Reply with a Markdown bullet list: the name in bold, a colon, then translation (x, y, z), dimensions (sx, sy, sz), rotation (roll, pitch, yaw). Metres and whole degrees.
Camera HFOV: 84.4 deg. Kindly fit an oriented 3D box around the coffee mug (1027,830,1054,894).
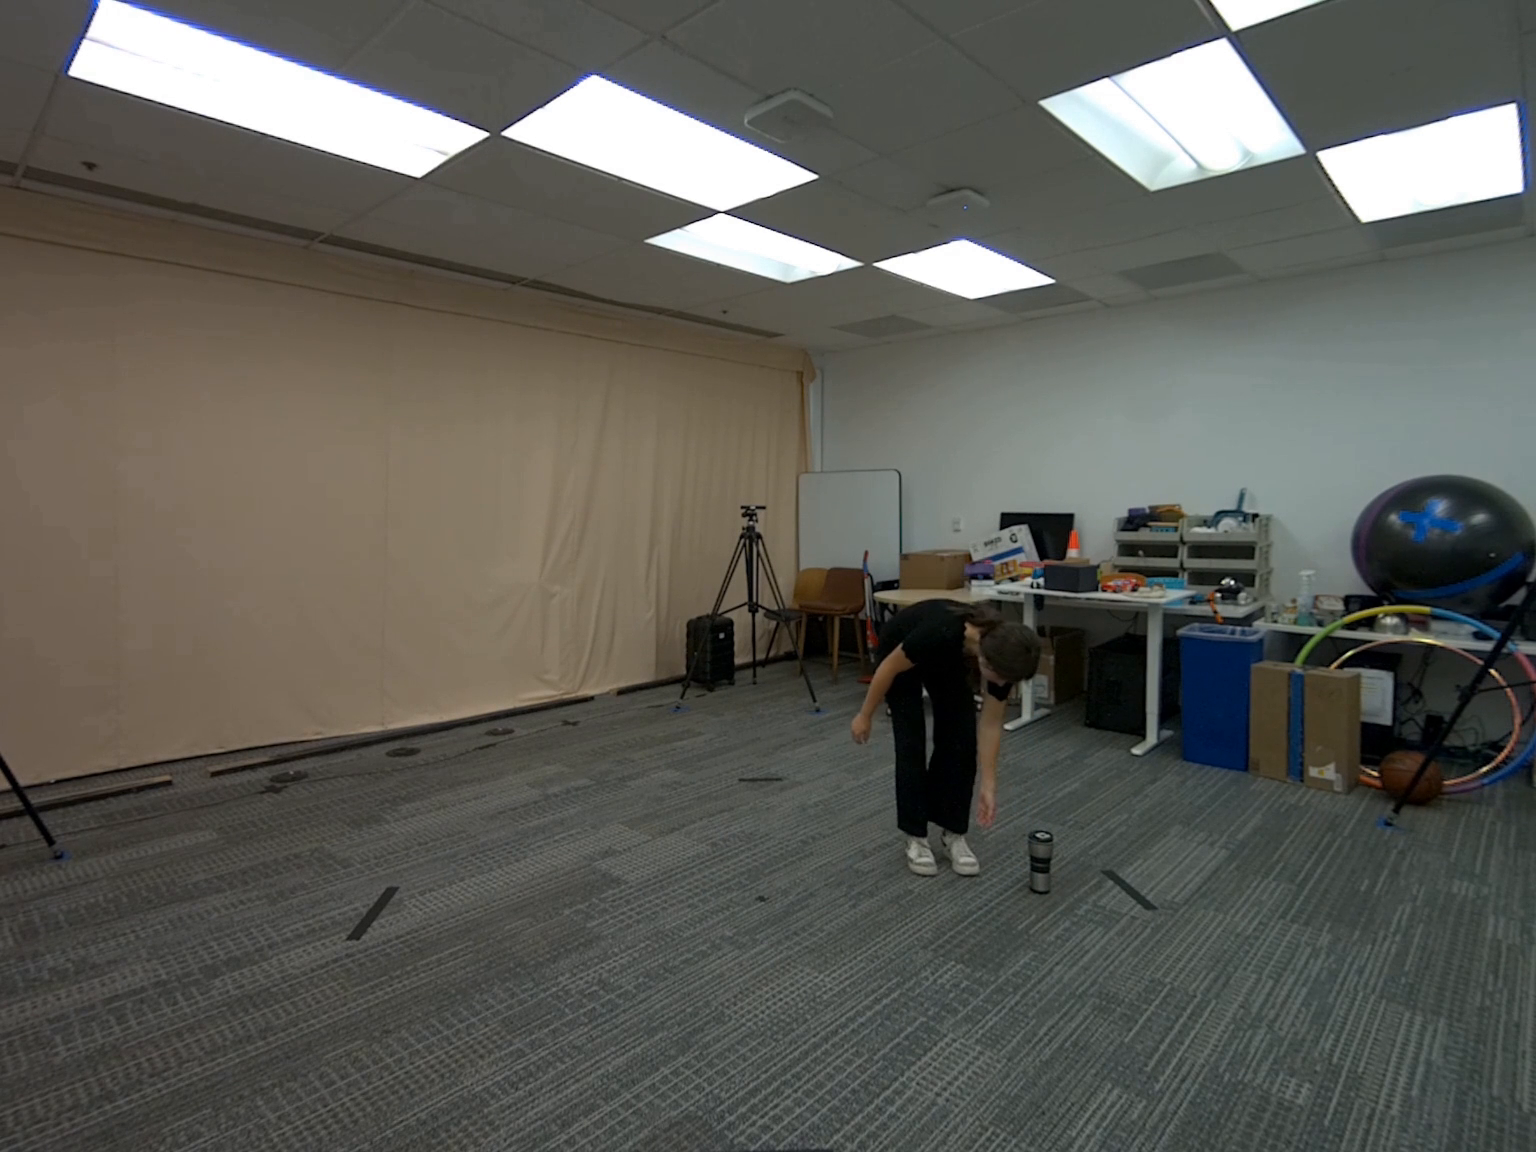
- **coffee mug**: translation (1.006, 1.035, 3.056), dimensions (0.091, 0.202, 0.118), rotation (-1, 4, 42)
